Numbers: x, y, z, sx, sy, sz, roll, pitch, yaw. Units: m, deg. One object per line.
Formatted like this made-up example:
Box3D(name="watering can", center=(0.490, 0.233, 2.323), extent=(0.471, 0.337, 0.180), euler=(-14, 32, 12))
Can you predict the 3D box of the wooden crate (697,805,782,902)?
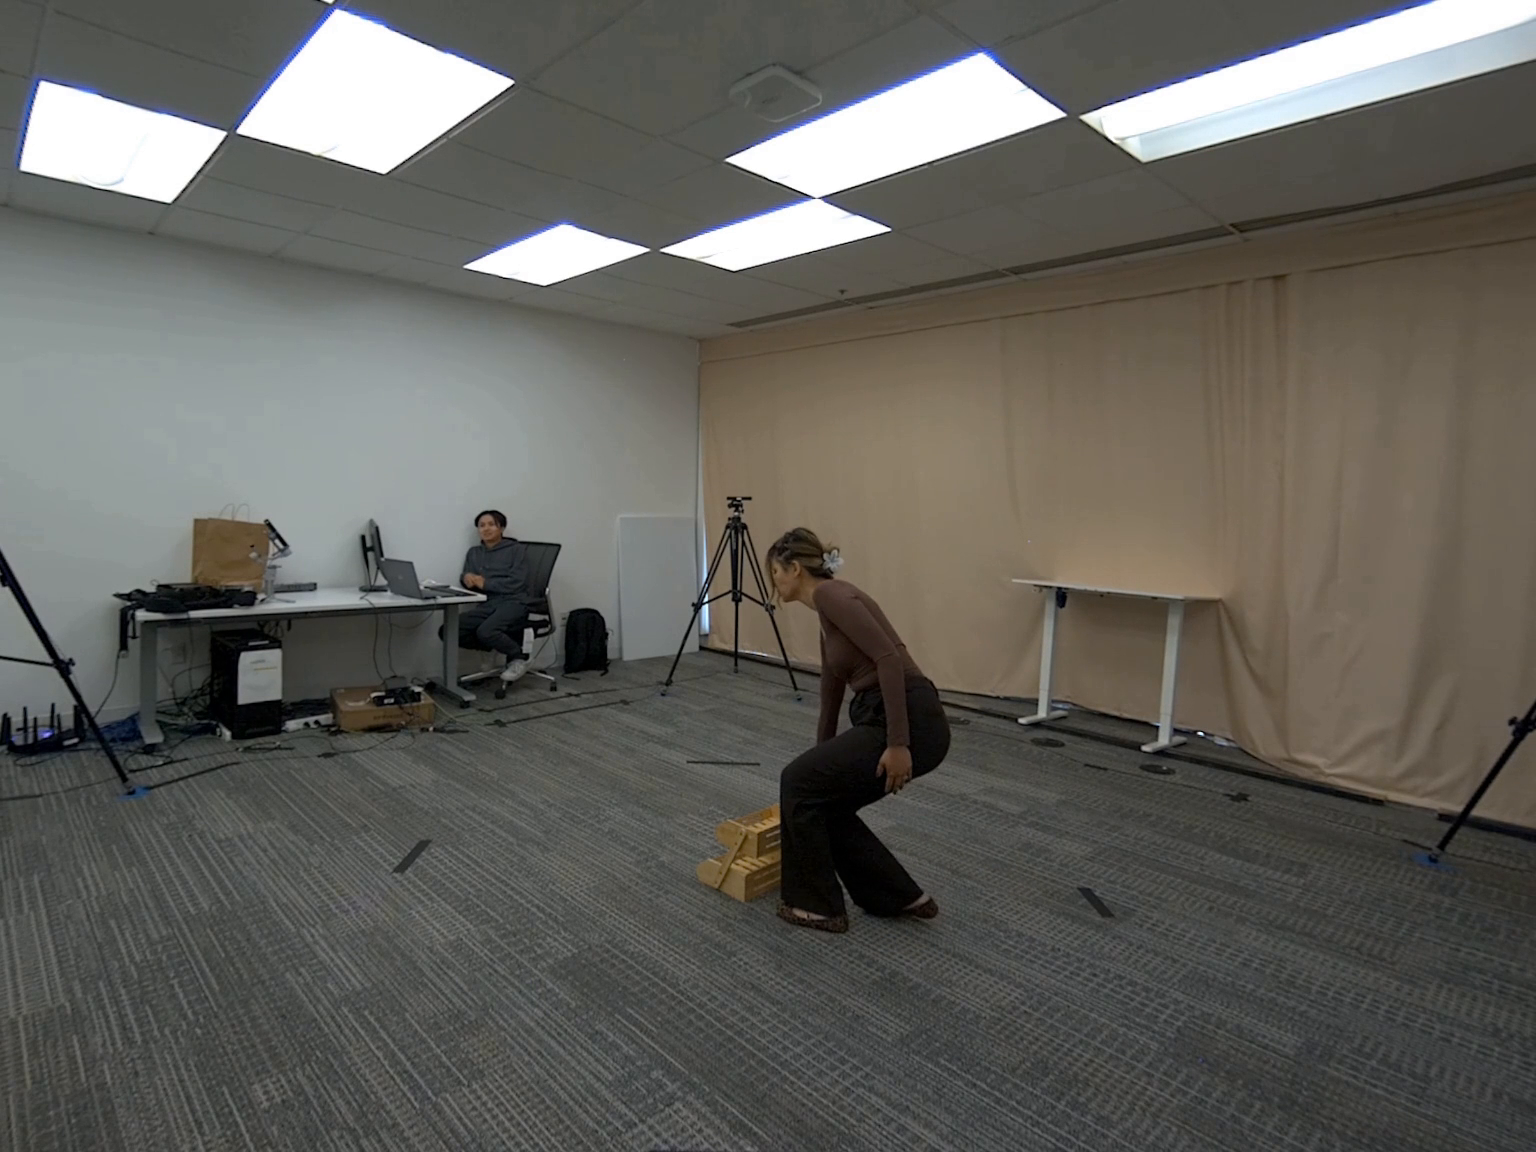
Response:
Box3D(name="wooden crate", center=(-0.060, 0.975, 3.071), extent=(0.310, 0.272, 0.317), euler=(6, 6, 42))
